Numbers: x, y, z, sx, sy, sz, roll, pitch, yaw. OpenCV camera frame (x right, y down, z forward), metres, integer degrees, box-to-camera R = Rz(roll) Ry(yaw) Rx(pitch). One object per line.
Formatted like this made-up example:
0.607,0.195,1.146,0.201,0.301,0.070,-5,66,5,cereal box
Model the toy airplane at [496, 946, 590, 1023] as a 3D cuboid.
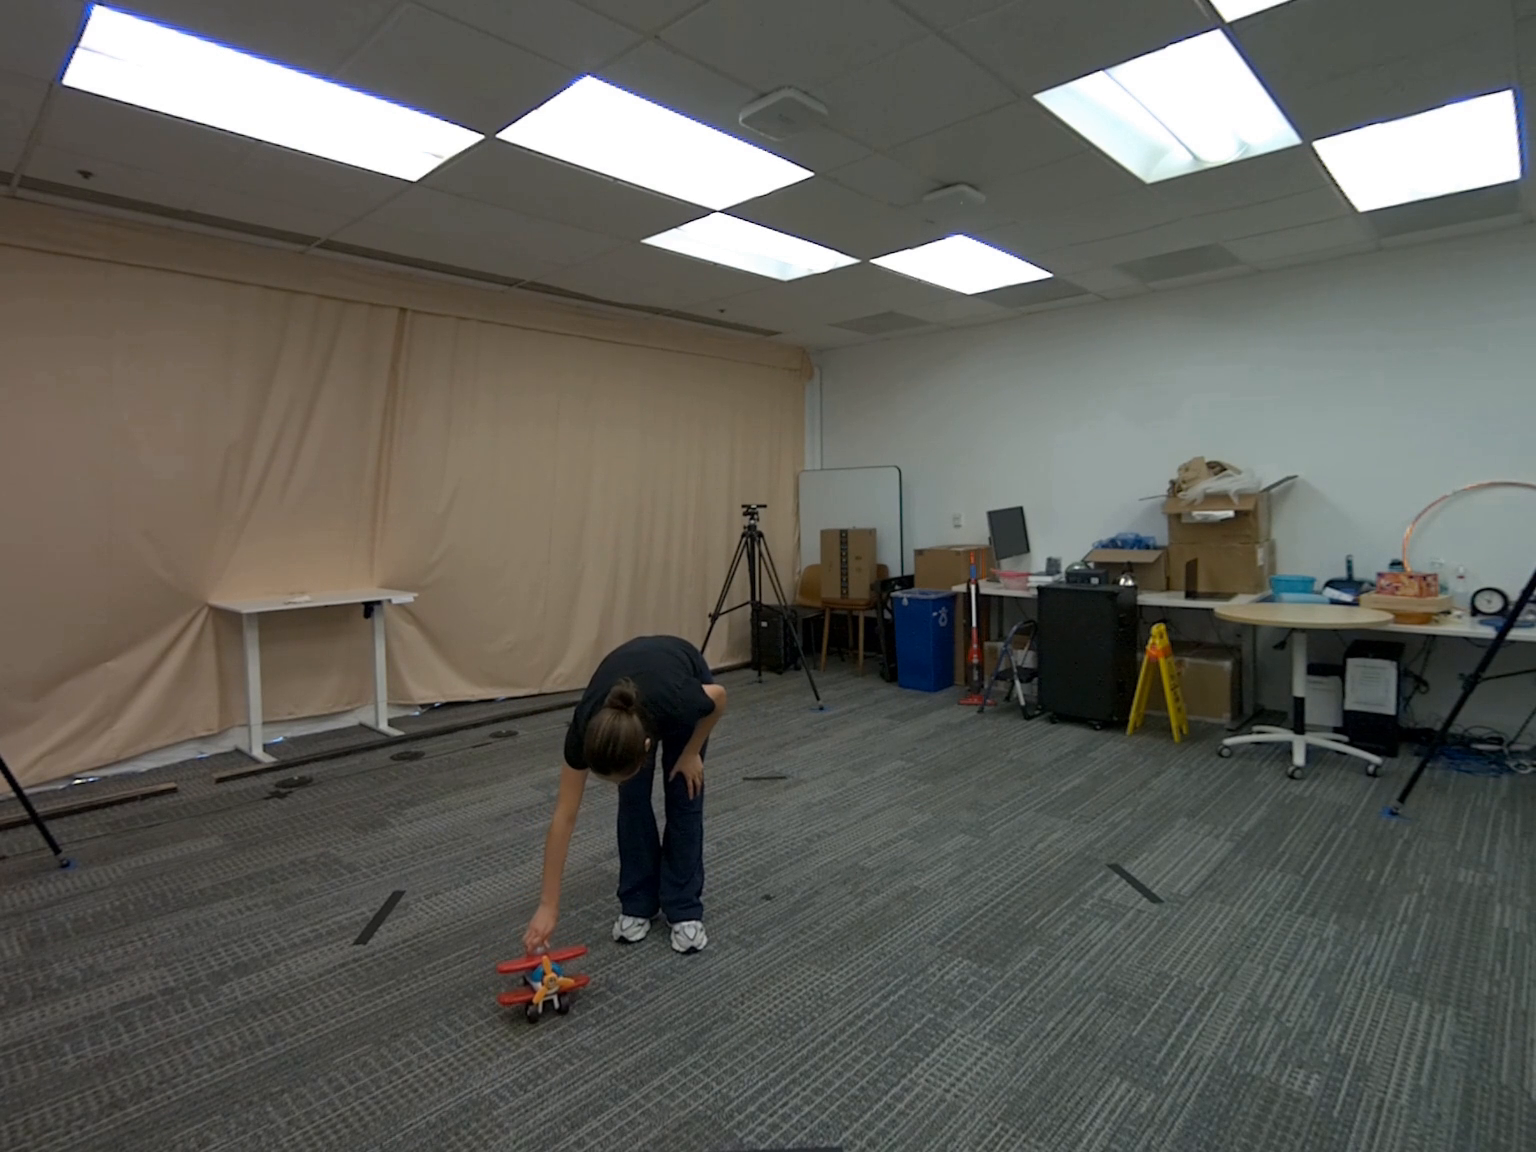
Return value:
-0.654,1.128,2.375,0.267,0.156,0.244,4,6,36,toy airplane
